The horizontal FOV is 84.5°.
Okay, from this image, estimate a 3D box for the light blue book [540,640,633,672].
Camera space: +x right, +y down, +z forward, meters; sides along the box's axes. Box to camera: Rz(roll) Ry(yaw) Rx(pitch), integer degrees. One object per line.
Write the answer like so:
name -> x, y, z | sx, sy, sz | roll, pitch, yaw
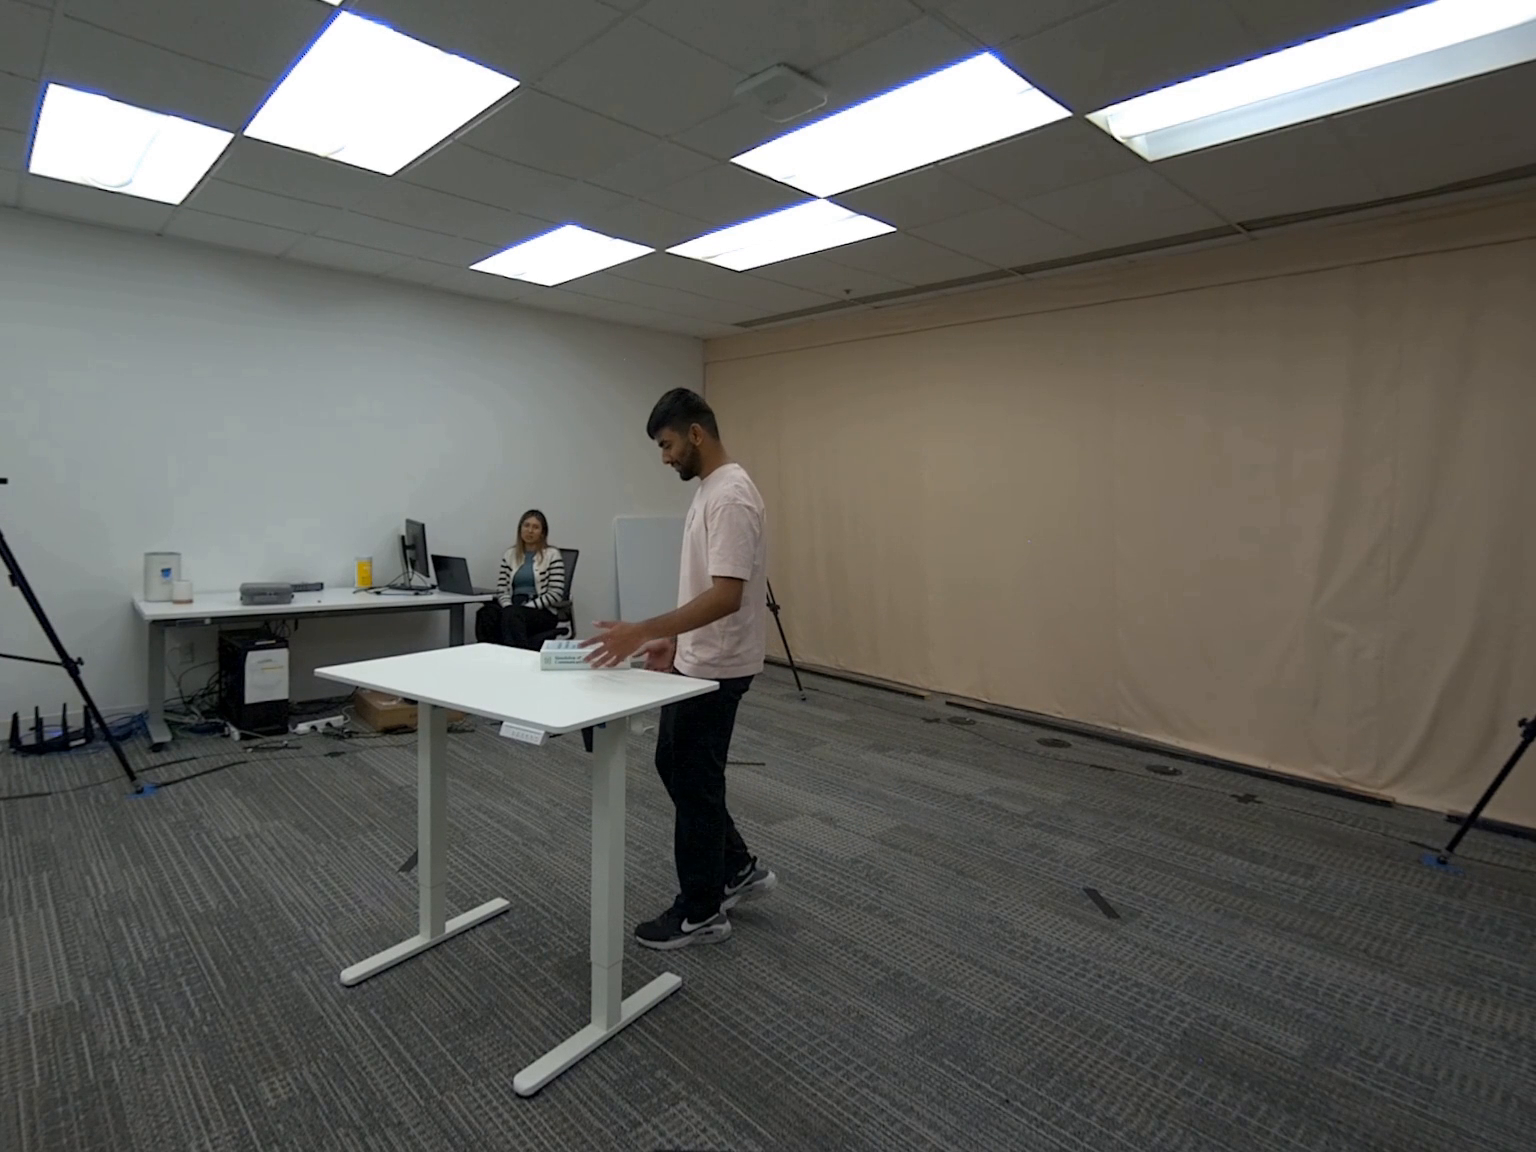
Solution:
light blue book -> -0.554, 0.244, 2.524 | 0.259, 0.059, 0.193 | 0, 5, -9
